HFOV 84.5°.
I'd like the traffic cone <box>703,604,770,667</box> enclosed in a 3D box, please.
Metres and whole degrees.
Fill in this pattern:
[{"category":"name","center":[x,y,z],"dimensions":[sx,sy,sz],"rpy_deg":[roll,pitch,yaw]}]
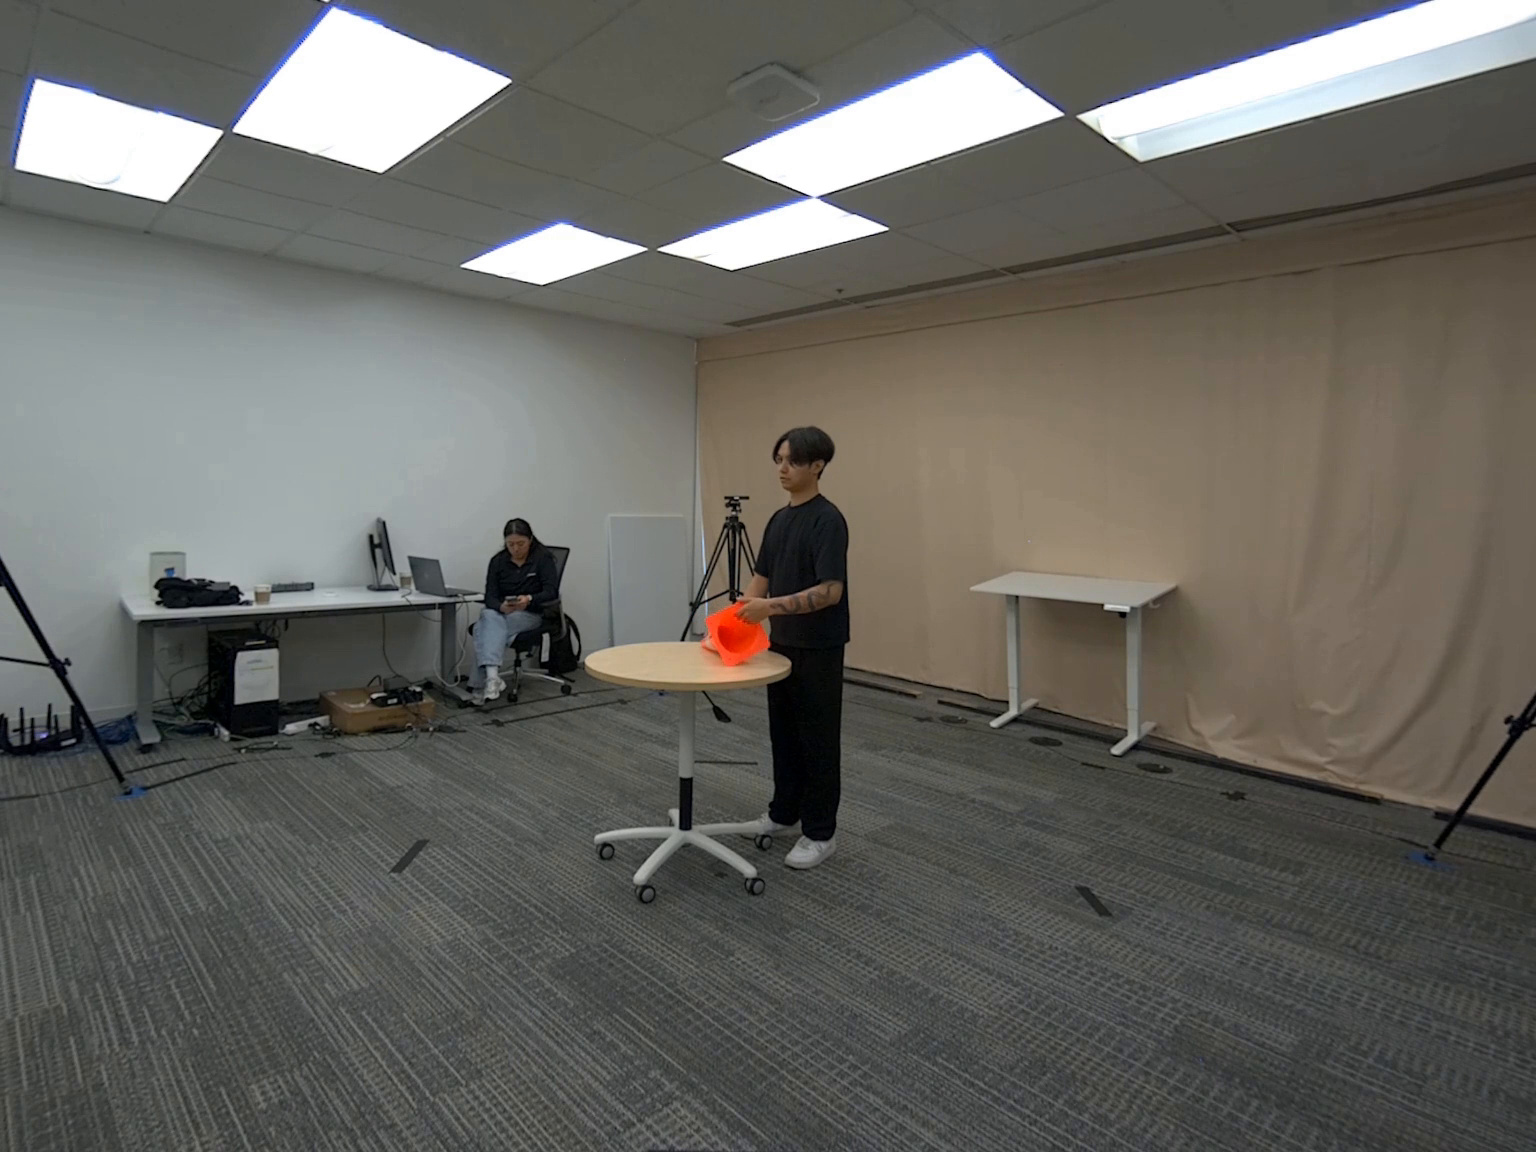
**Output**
[{"category":"traffic cone","center":[-0.184,0.245,3.253],"dimensions":[0.203,0.204,0.387],"rpy_deg":[-24,0,-25]}]
